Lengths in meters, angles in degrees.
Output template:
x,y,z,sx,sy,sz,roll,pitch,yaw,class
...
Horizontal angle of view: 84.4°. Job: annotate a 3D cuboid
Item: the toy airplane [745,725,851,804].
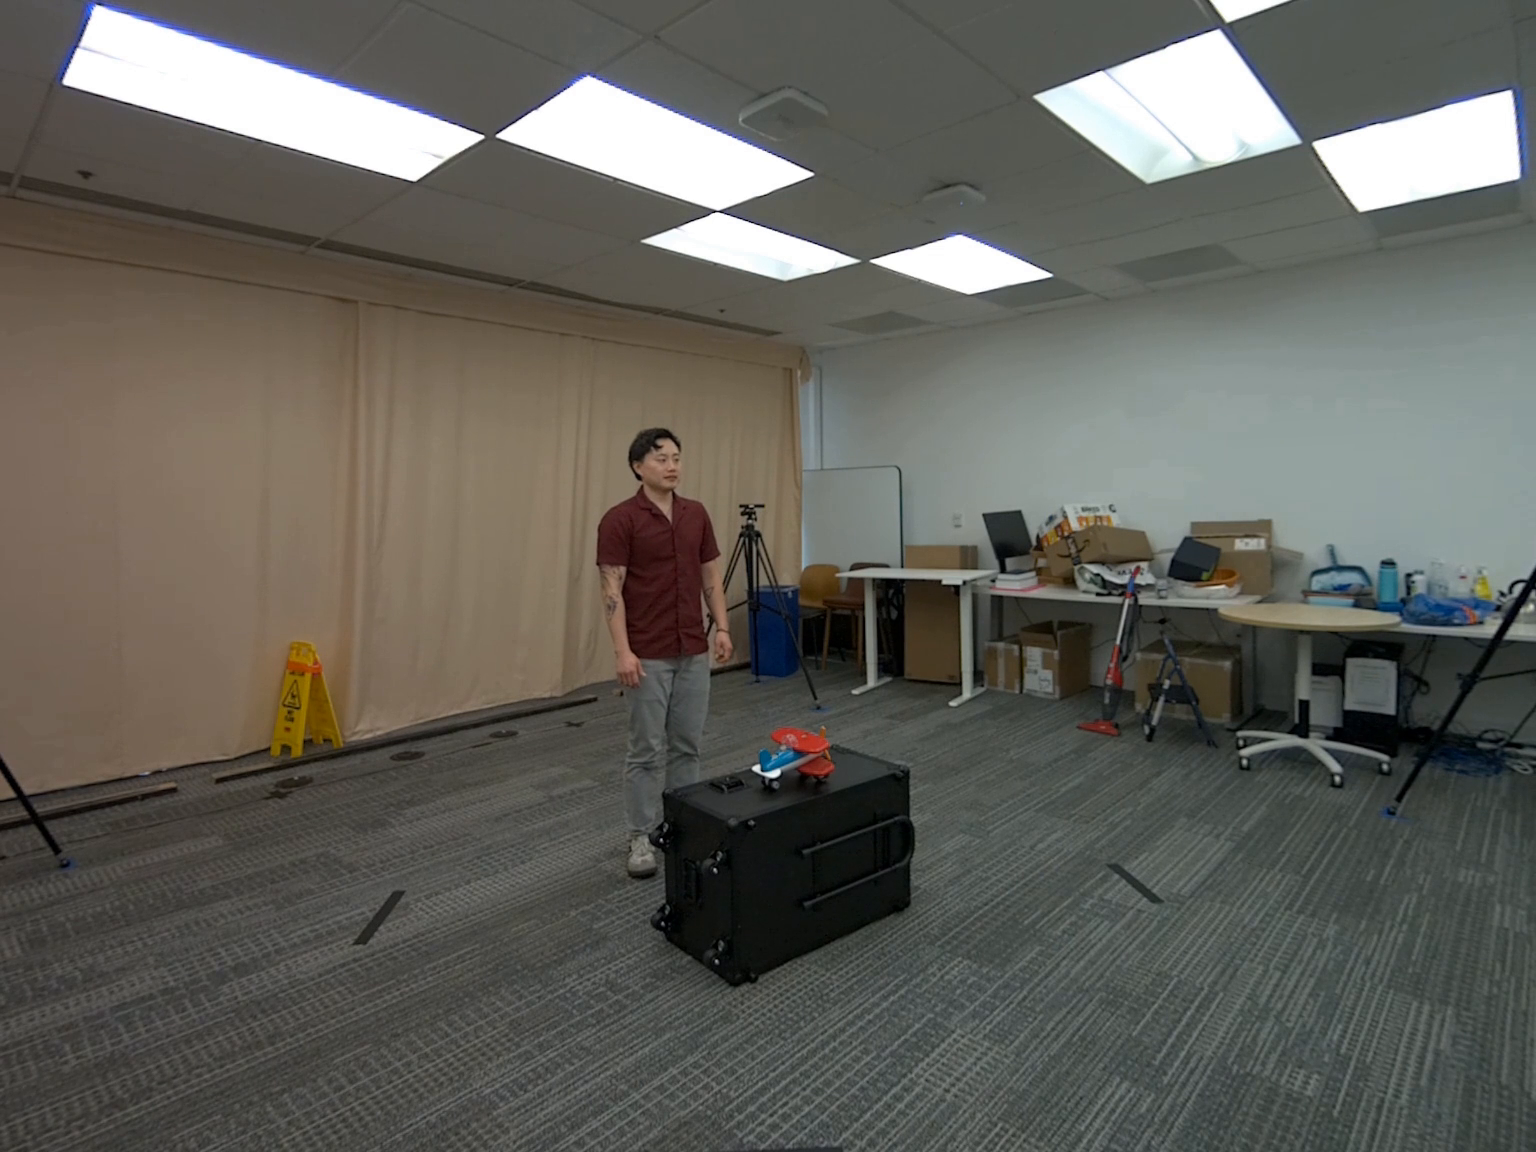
x,y,z,sx,sy,sz,roll,pitch,yaw,class
0.098,0.599,2.732,0.258,0.156,0.252,1,3,29,toy airplane
